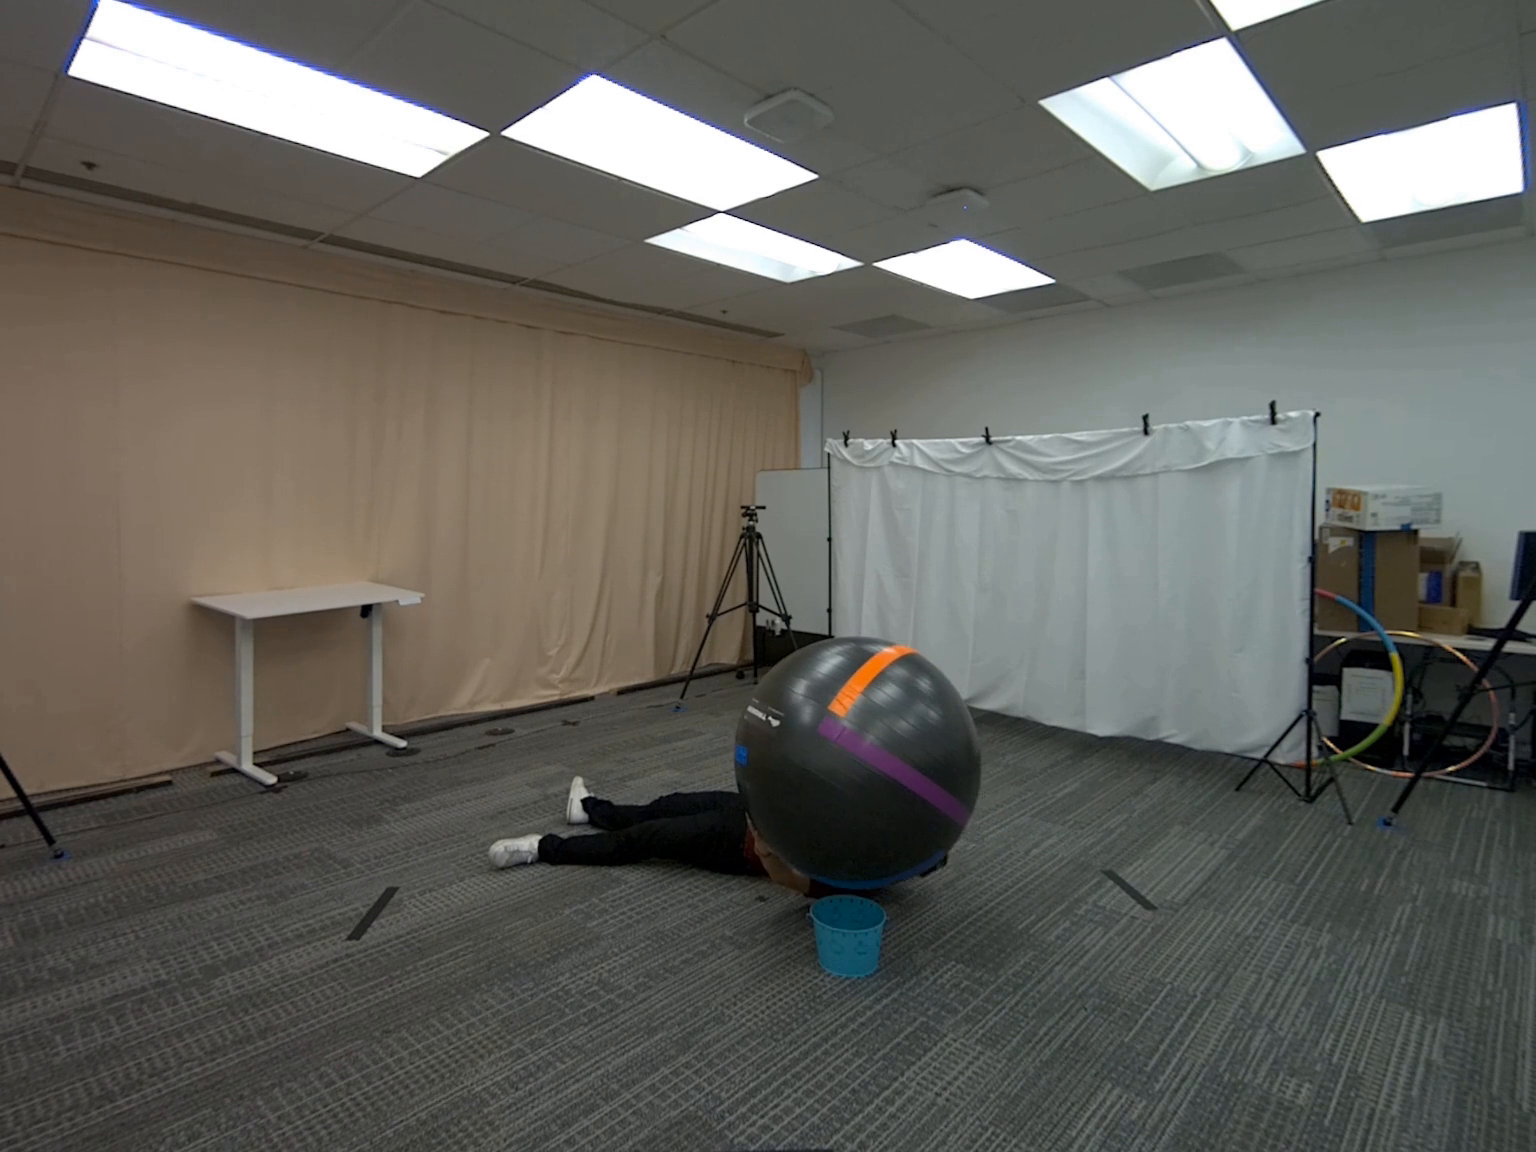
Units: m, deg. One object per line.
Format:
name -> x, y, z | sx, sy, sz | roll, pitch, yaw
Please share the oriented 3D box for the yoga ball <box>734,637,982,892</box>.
yoga ball -> 0.273, 0.568, 2.638 | 0.757, 0.756, 0.760 | 0, 4, -2
